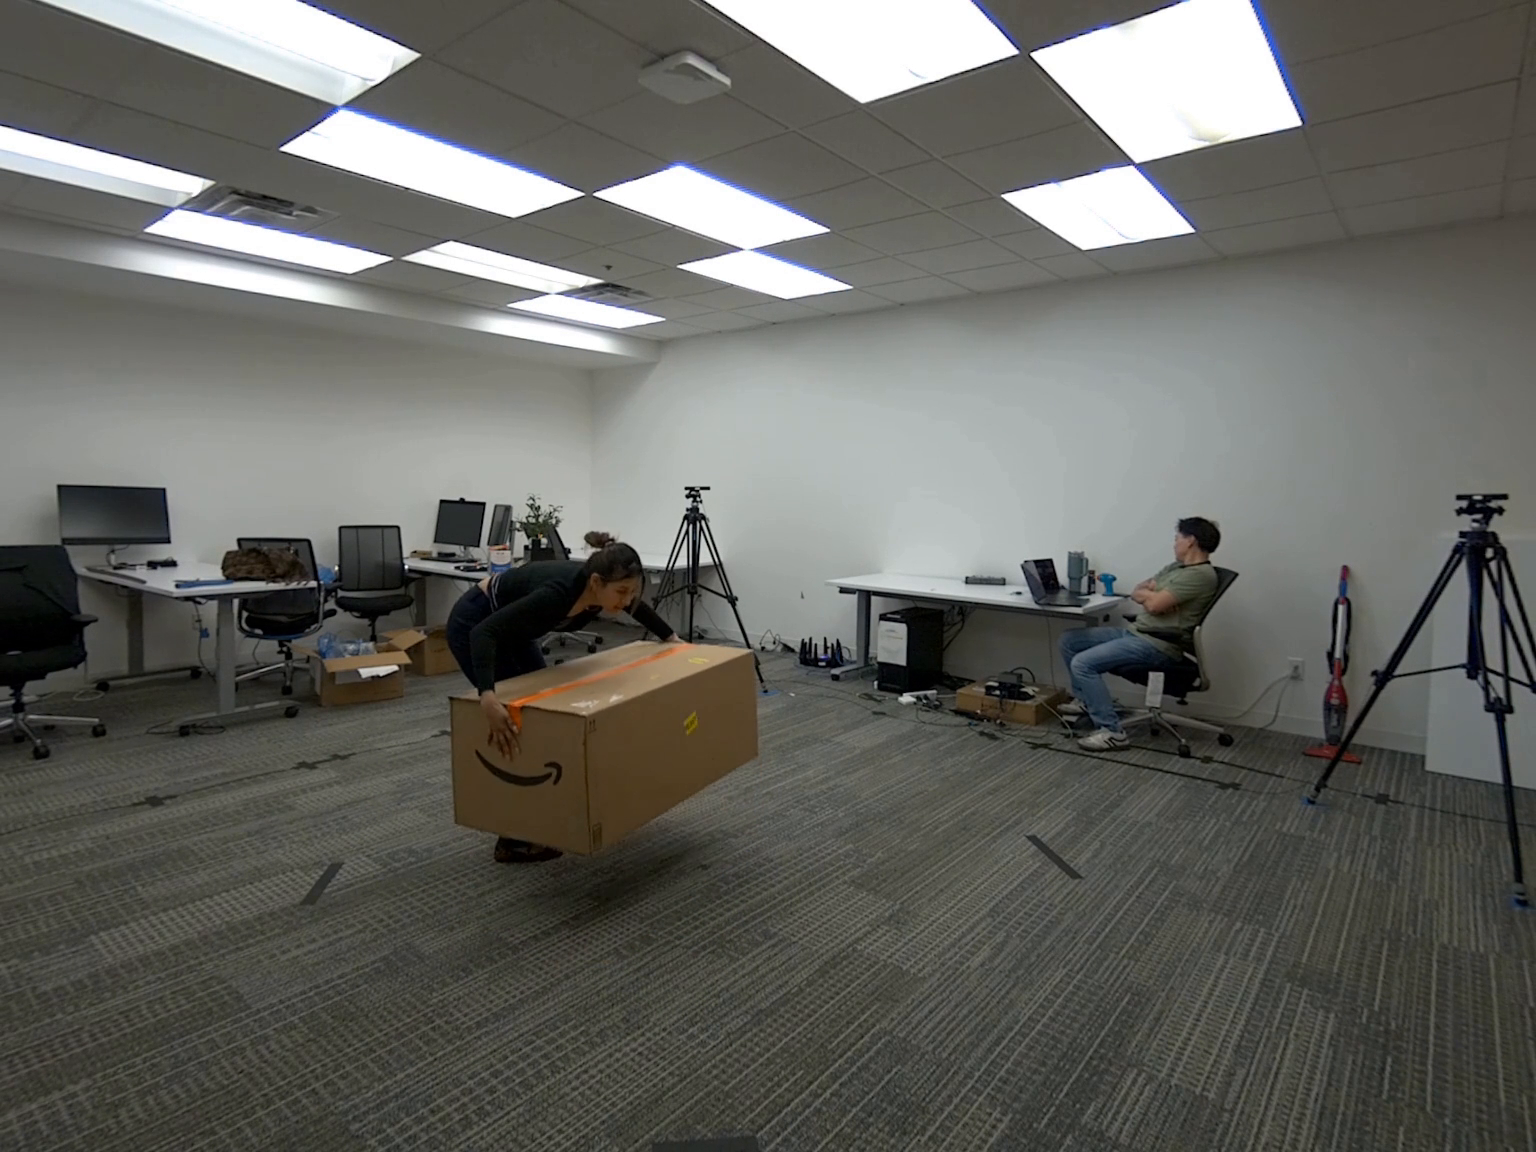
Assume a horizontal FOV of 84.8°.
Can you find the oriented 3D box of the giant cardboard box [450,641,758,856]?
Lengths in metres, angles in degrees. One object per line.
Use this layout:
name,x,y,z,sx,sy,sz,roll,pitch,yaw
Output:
giant cardboard box,-0.540,0.549,3.035,0.593,0.424,1.002,0,6,29
